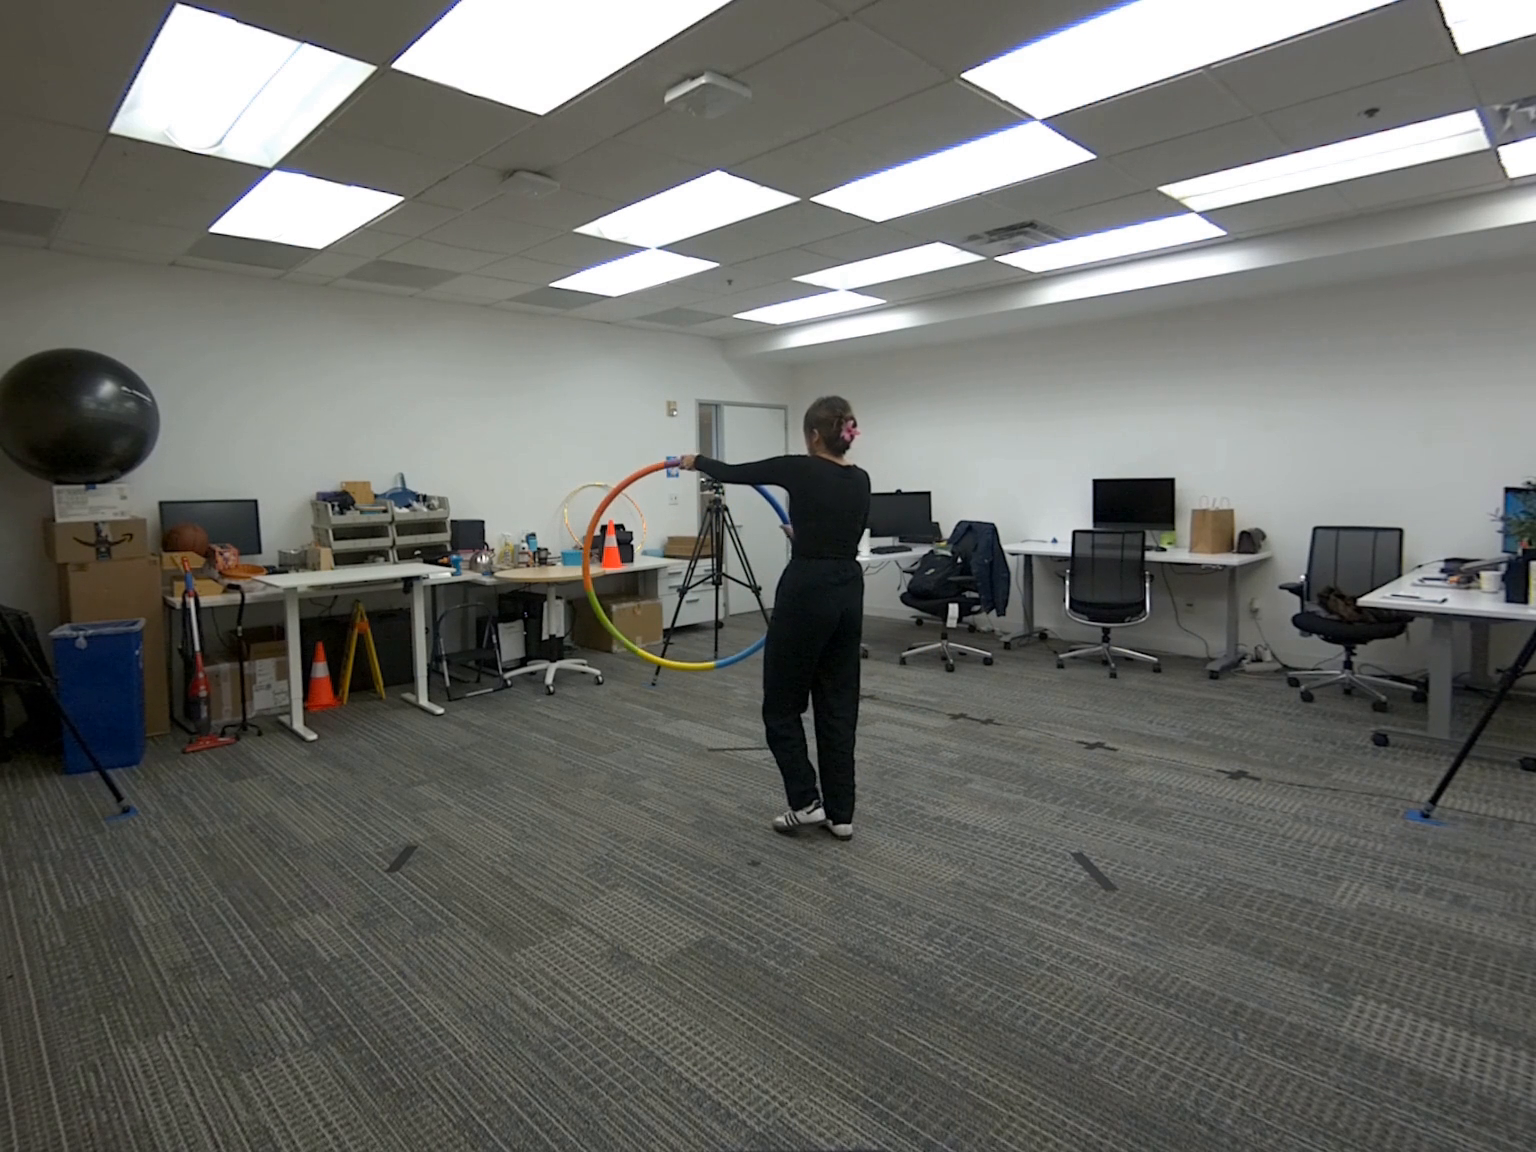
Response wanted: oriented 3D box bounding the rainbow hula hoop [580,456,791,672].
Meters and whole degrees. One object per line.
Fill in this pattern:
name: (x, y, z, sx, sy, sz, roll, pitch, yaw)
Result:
rainbow hula hoop: (-0.339, -0.029, 3.826, 0.989, 0.971, 0.052, 0, 15, 4)
